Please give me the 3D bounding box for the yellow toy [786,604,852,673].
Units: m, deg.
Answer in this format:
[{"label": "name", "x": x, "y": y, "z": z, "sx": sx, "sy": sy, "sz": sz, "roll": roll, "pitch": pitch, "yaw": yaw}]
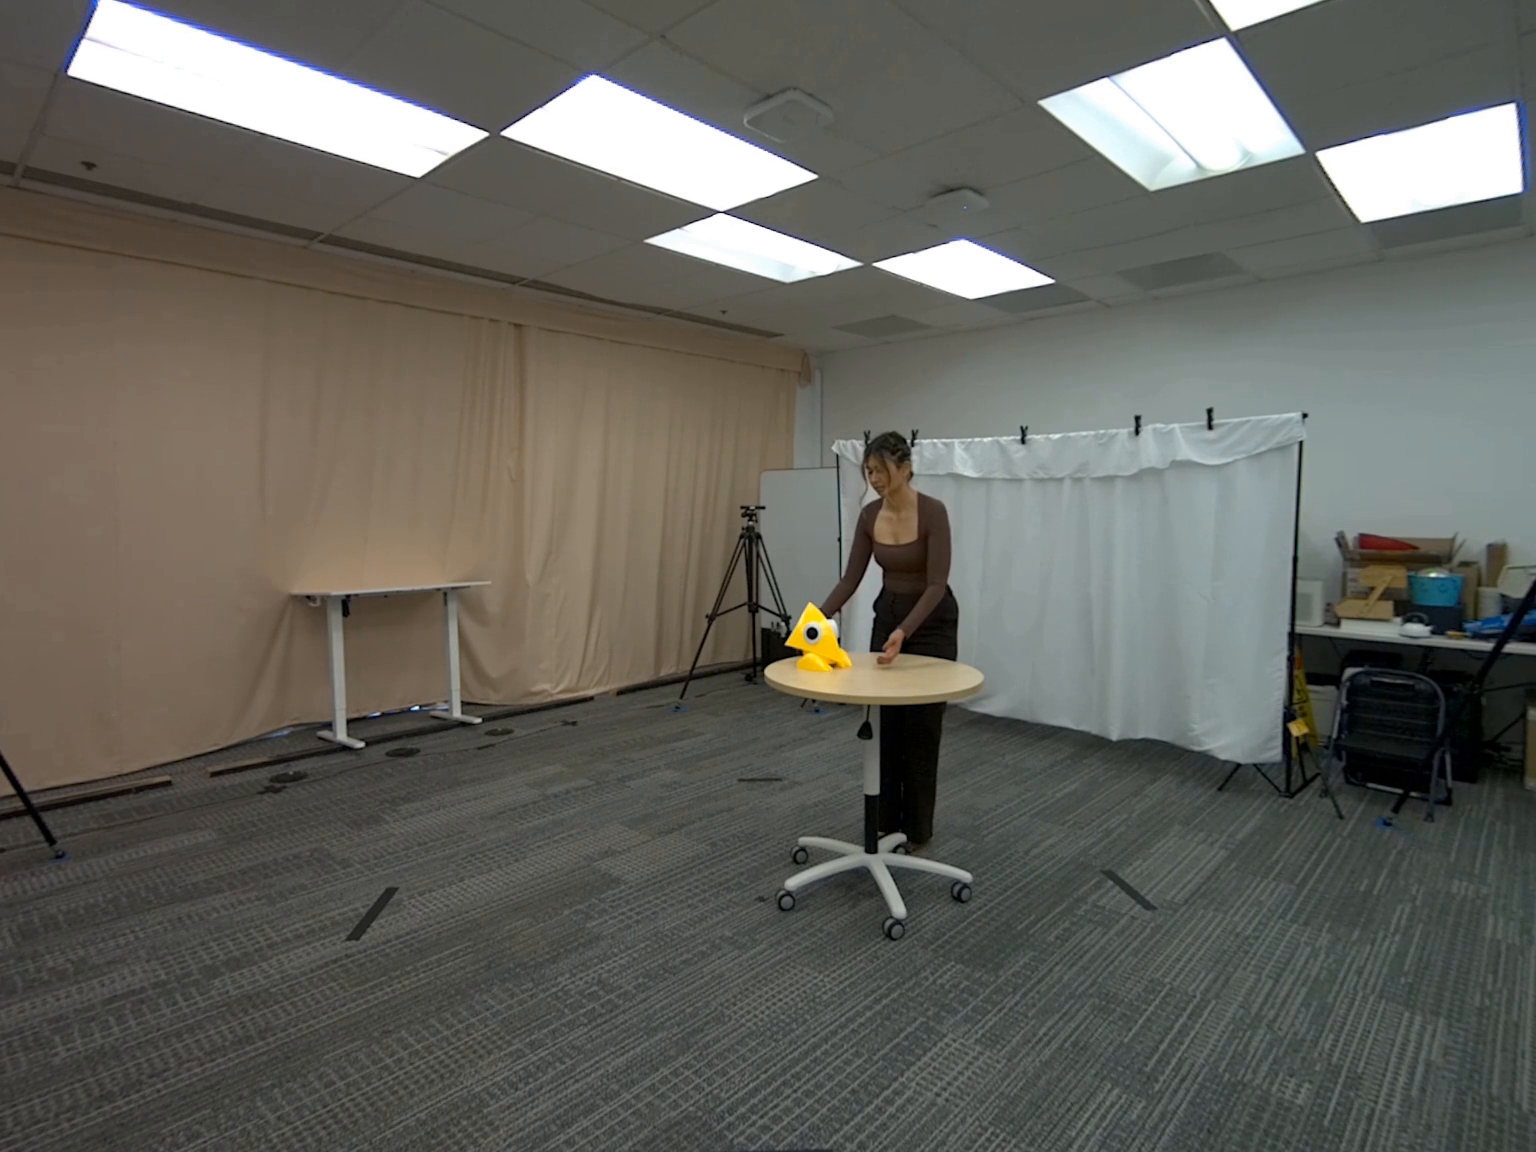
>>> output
[{"label": "yellow toy", "x": 0.198, "y": 0.219, "z": 3.127, "sx": 0.198, "sy": 0.230, "sz": 0.199, "roll": -4, "pitch": 6, "yaw": -41}]
